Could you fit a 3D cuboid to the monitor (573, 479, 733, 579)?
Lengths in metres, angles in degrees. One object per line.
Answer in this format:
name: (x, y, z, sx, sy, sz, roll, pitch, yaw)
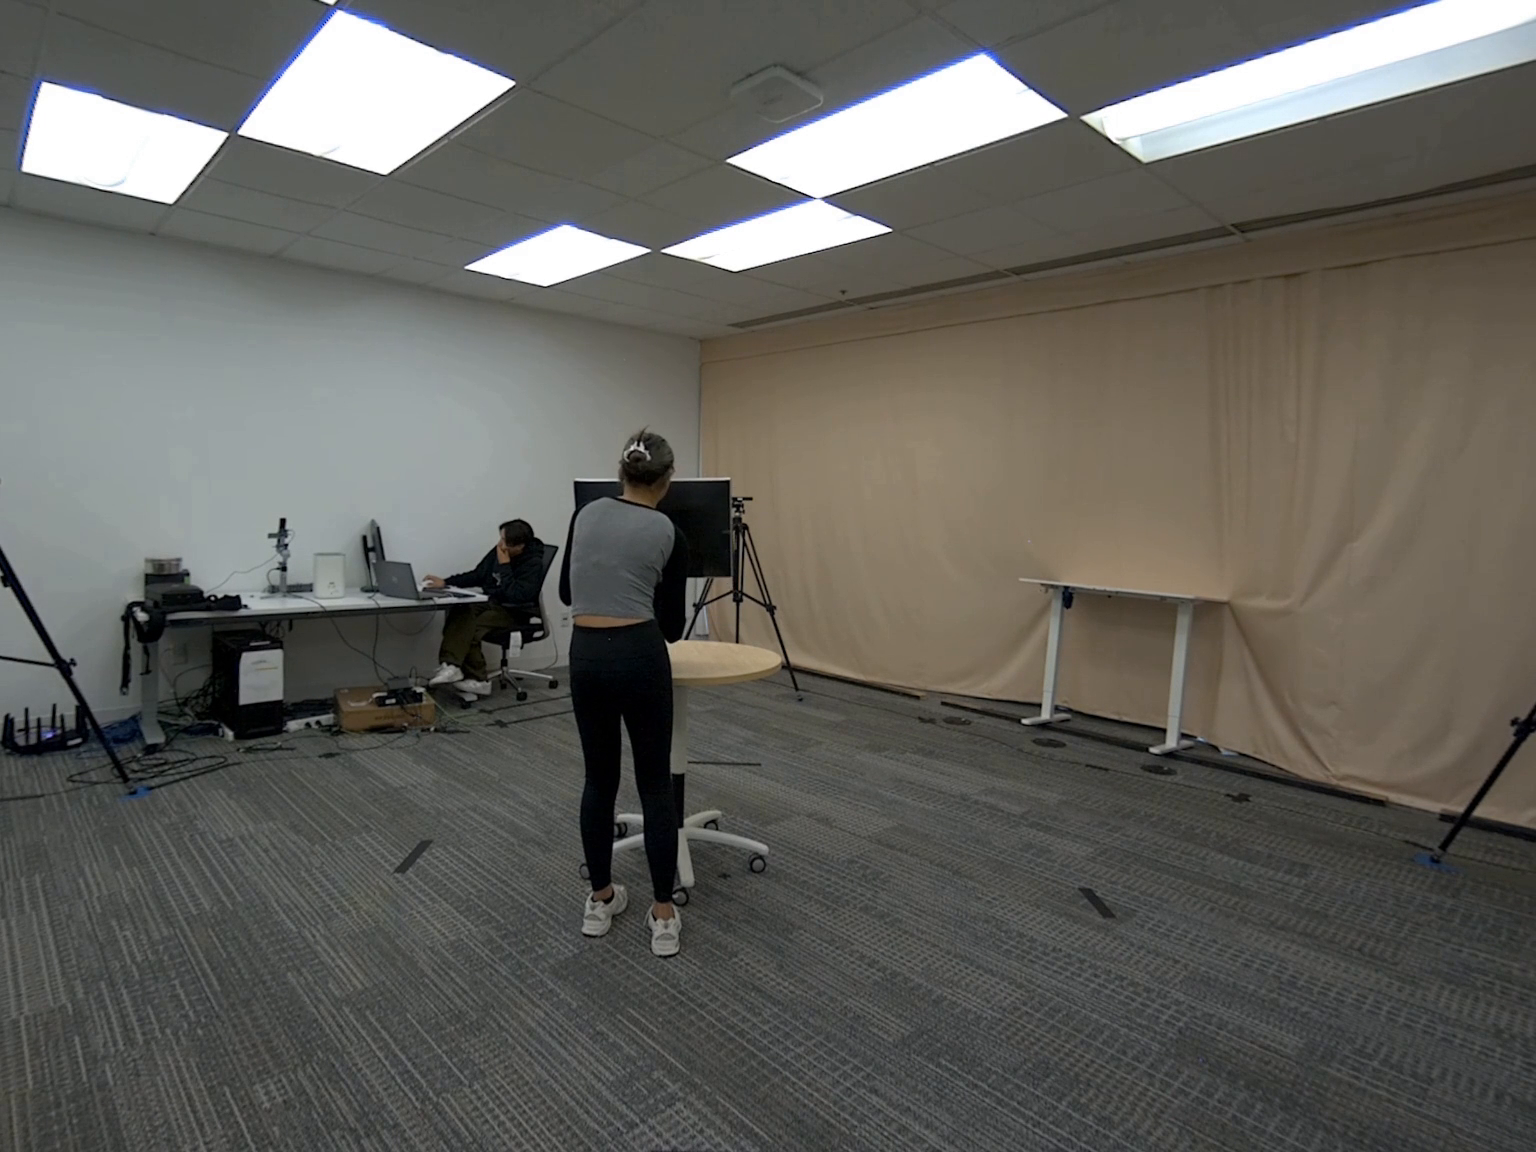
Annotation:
monitor: (-0.401, -0.079, 2.970, 0.539, 0.521, 0.187, -1, 3, 1)
